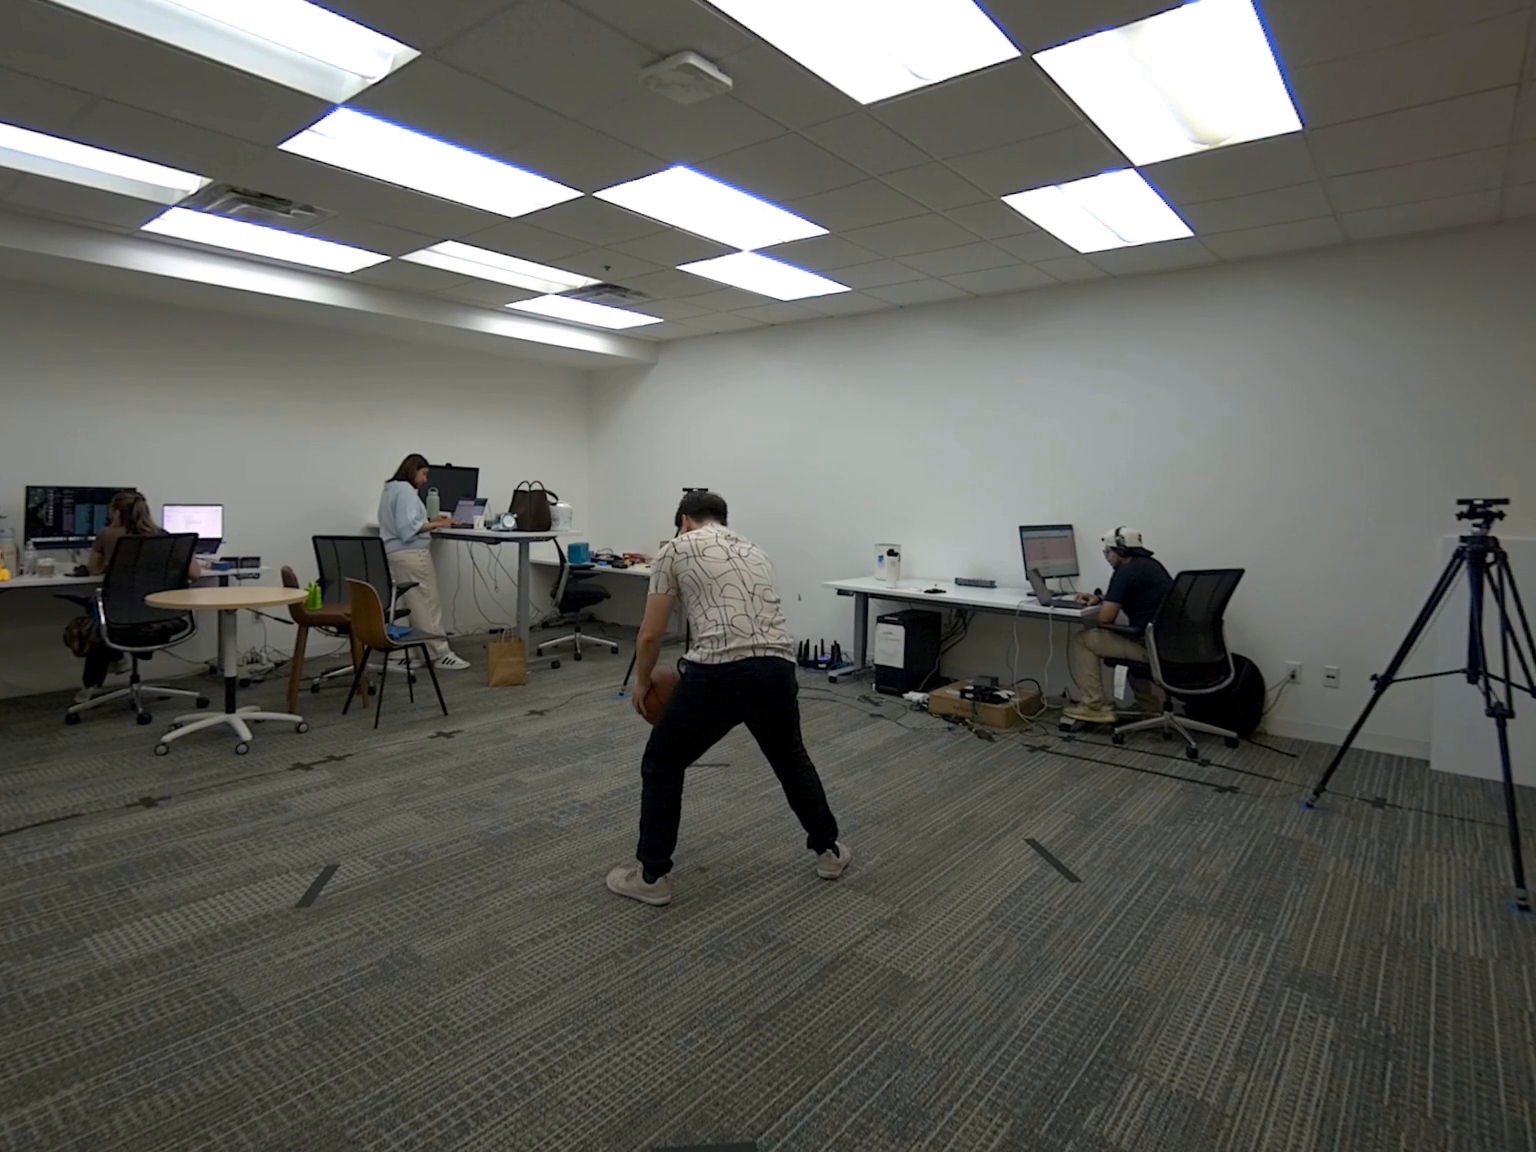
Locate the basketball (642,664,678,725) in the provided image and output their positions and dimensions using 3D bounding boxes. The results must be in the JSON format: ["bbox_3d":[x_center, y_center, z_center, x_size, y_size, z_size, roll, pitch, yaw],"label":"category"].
[{"bbox_3d":[-0.398,0.447,3.268,0.235,0.235,0.237,1,4,-2],"label":"basketball"}]
